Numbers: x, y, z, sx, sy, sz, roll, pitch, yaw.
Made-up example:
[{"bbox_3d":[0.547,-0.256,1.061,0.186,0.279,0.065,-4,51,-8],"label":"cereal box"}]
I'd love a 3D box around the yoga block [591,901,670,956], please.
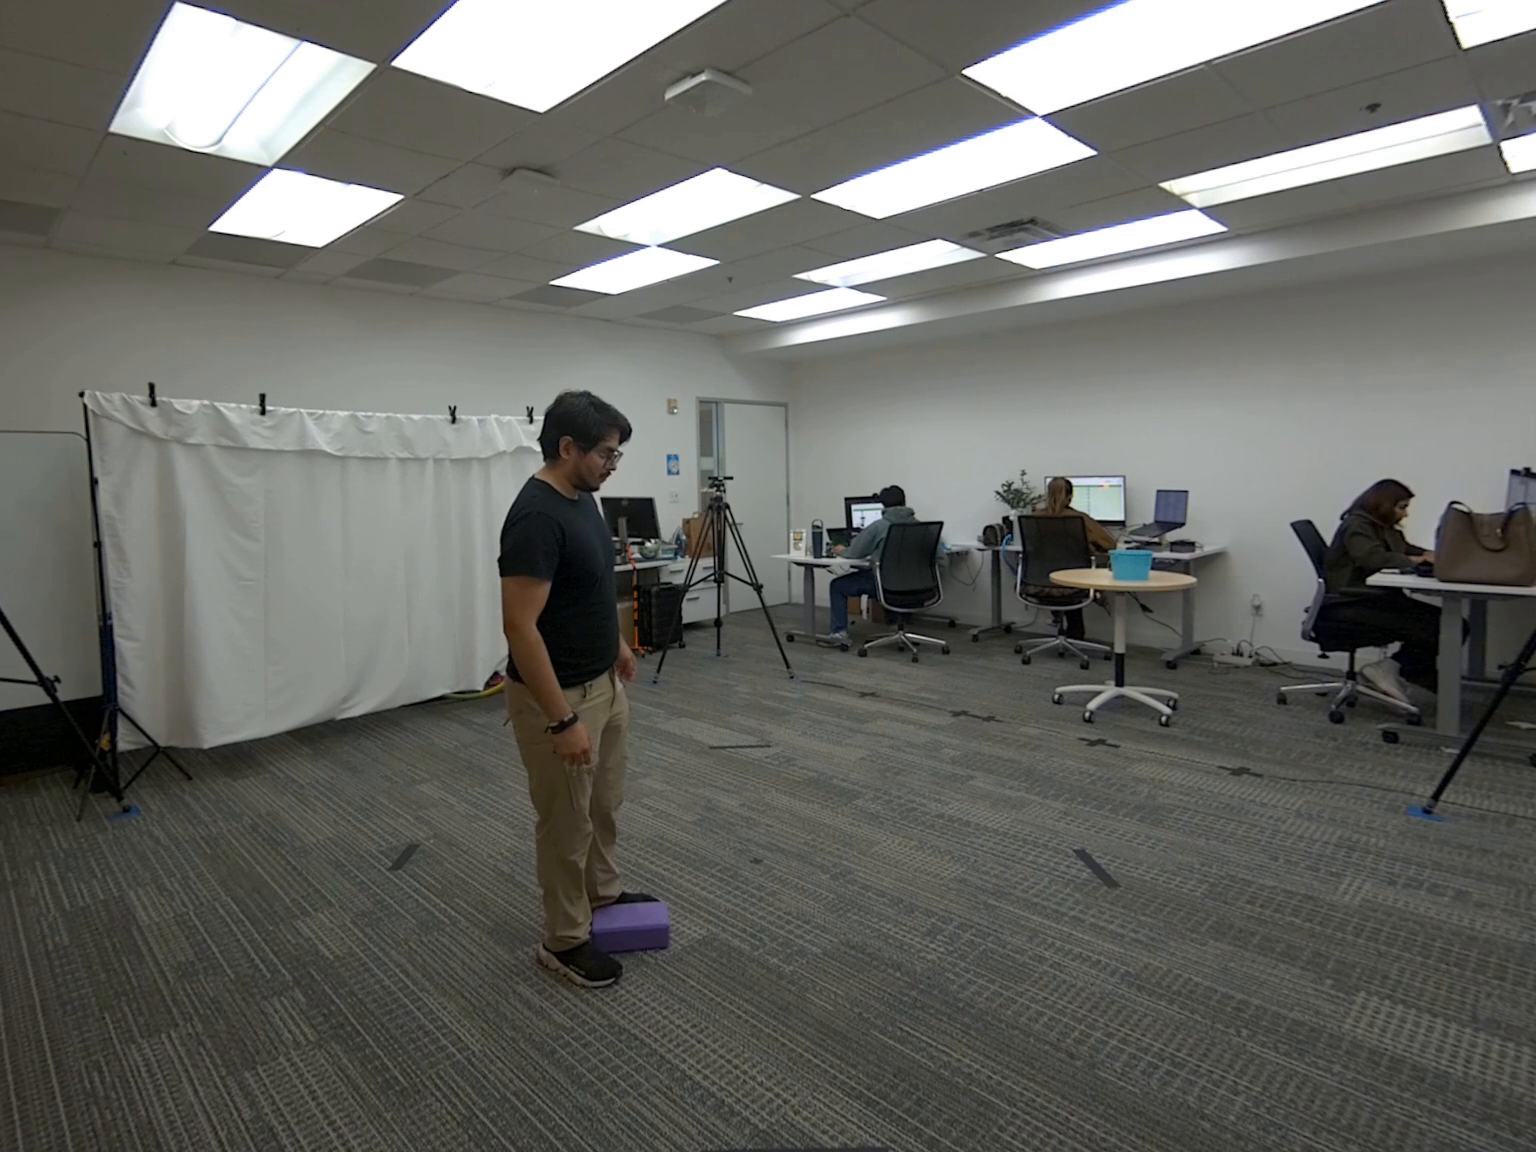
[{"bbox_3d":[-0.419,1.065,2.594,0.228,0.076,0.151,-3,6,-8],"label":"yoga block"}]
